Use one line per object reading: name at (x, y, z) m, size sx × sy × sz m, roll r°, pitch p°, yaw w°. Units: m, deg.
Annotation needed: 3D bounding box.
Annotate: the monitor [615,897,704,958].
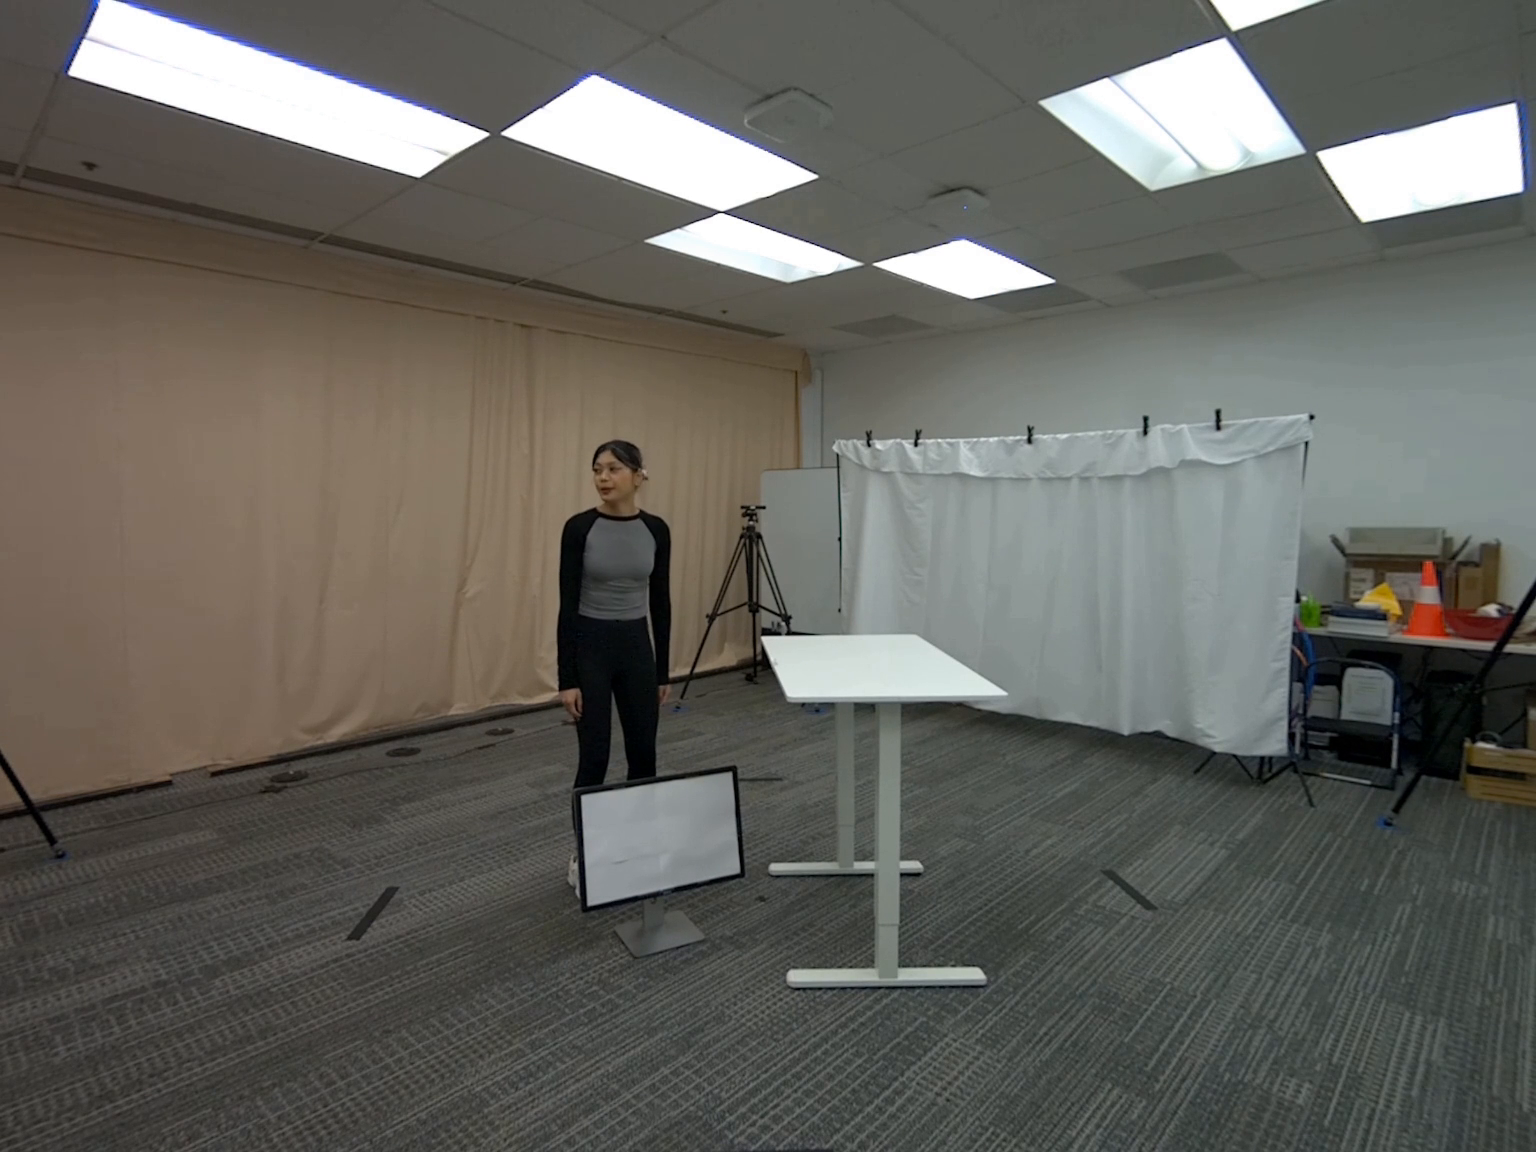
monitor at (-0.359, 0.911, 2.714) m, size 0.525 × 0.521 × 0.193 m, roll -2°, pitch 6°, yaw -29°
